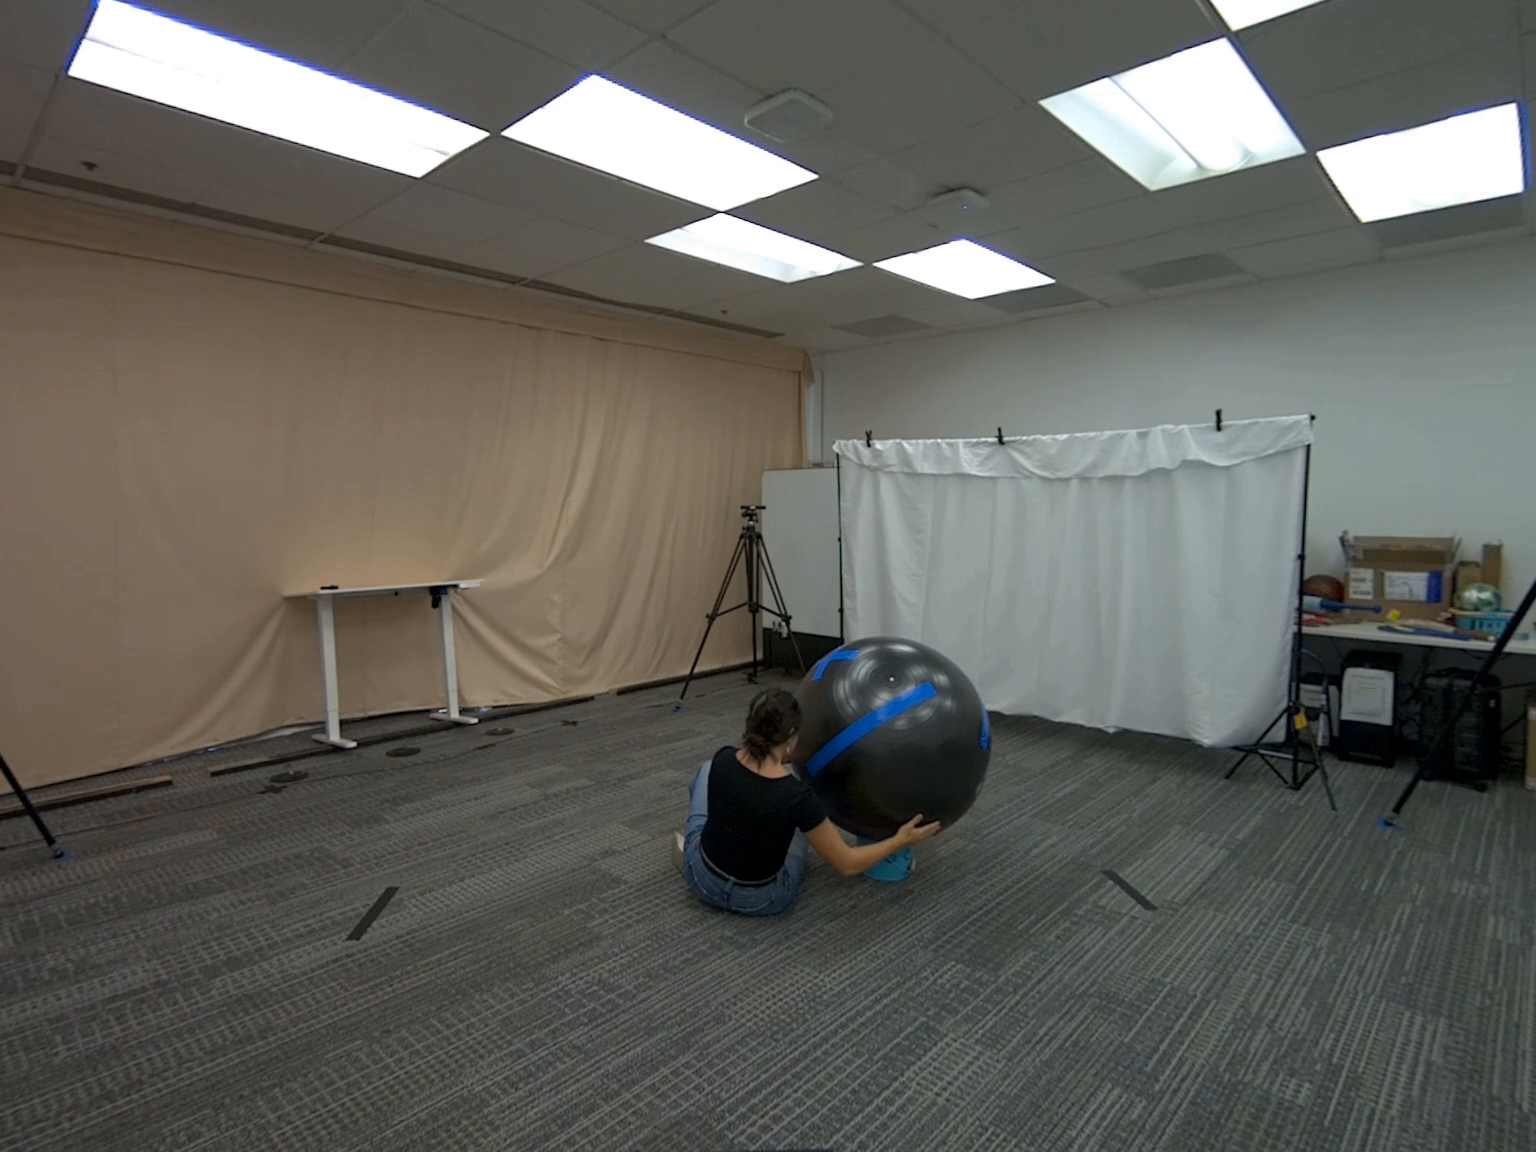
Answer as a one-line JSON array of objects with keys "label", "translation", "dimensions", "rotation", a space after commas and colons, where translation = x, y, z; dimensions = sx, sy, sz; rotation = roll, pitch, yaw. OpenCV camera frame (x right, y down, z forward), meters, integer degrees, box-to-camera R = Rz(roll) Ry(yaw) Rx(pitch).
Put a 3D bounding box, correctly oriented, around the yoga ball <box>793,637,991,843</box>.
[{"label": "yoga ball", "translation": [0.465, 0.614, 3.203], "dimensions": [0.757, 0.756, 0.760], "rotation": [0, 4, -2]}]
